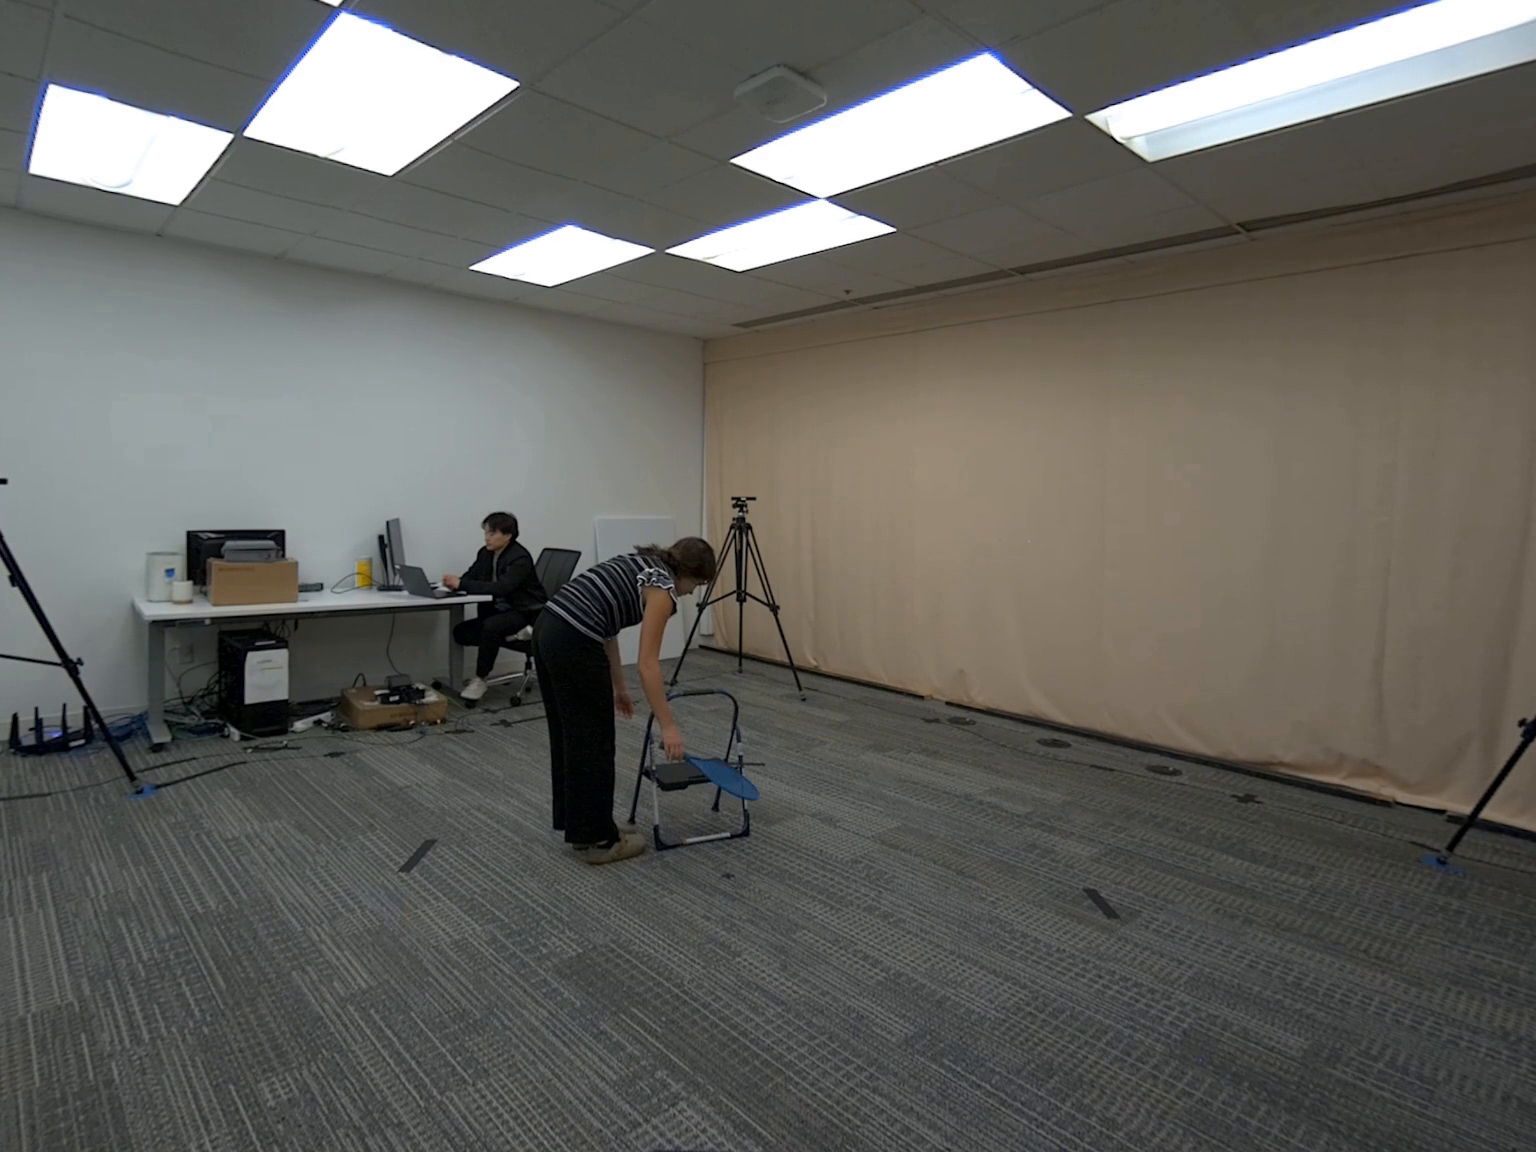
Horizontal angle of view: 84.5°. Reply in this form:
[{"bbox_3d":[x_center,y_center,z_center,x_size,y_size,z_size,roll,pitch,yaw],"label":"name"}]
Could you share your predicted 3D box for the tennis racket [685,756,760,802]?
[{"bbox_3d":[-0.245,0.730,3.202,0.430,0.032,0.215,33,6,-6],"label":"tennis racket"}]
